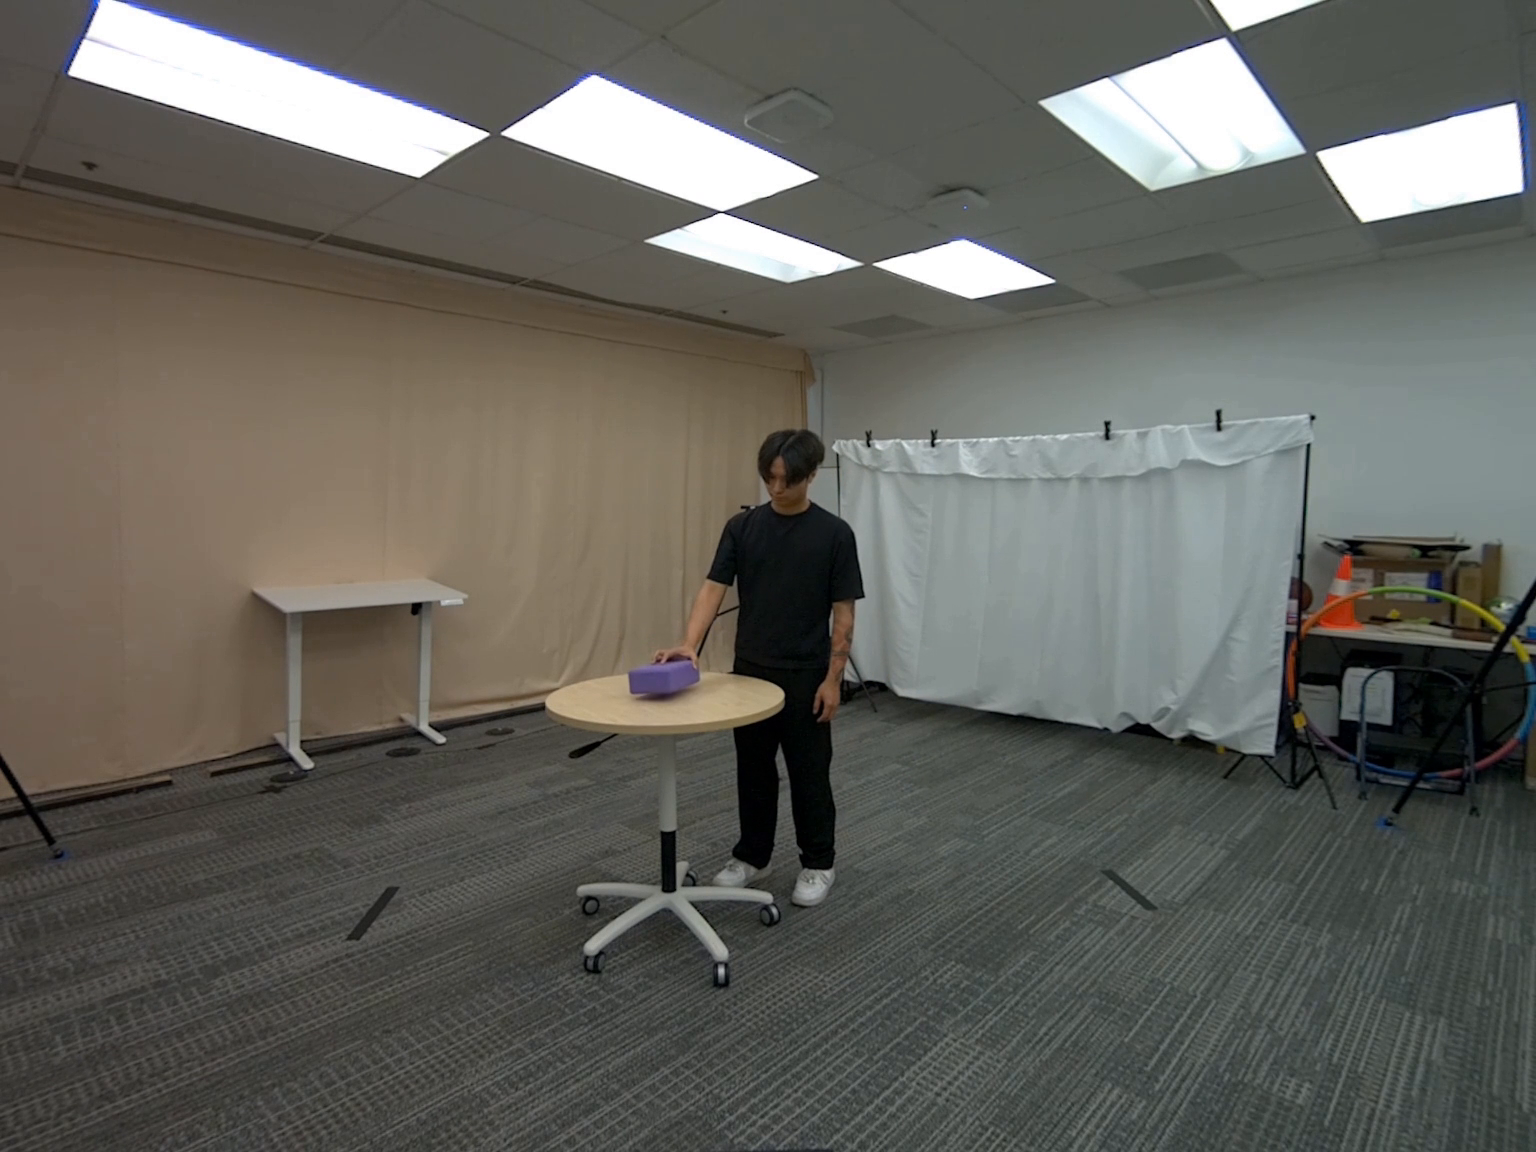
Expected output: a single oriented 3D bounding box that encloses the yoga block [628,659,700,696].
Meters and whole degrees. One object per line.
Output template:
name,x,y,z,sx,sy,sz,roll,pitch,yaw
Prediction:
yoga block,-0.334,0.324,2.721,0.152,0.076,0.224,-5,1,22
